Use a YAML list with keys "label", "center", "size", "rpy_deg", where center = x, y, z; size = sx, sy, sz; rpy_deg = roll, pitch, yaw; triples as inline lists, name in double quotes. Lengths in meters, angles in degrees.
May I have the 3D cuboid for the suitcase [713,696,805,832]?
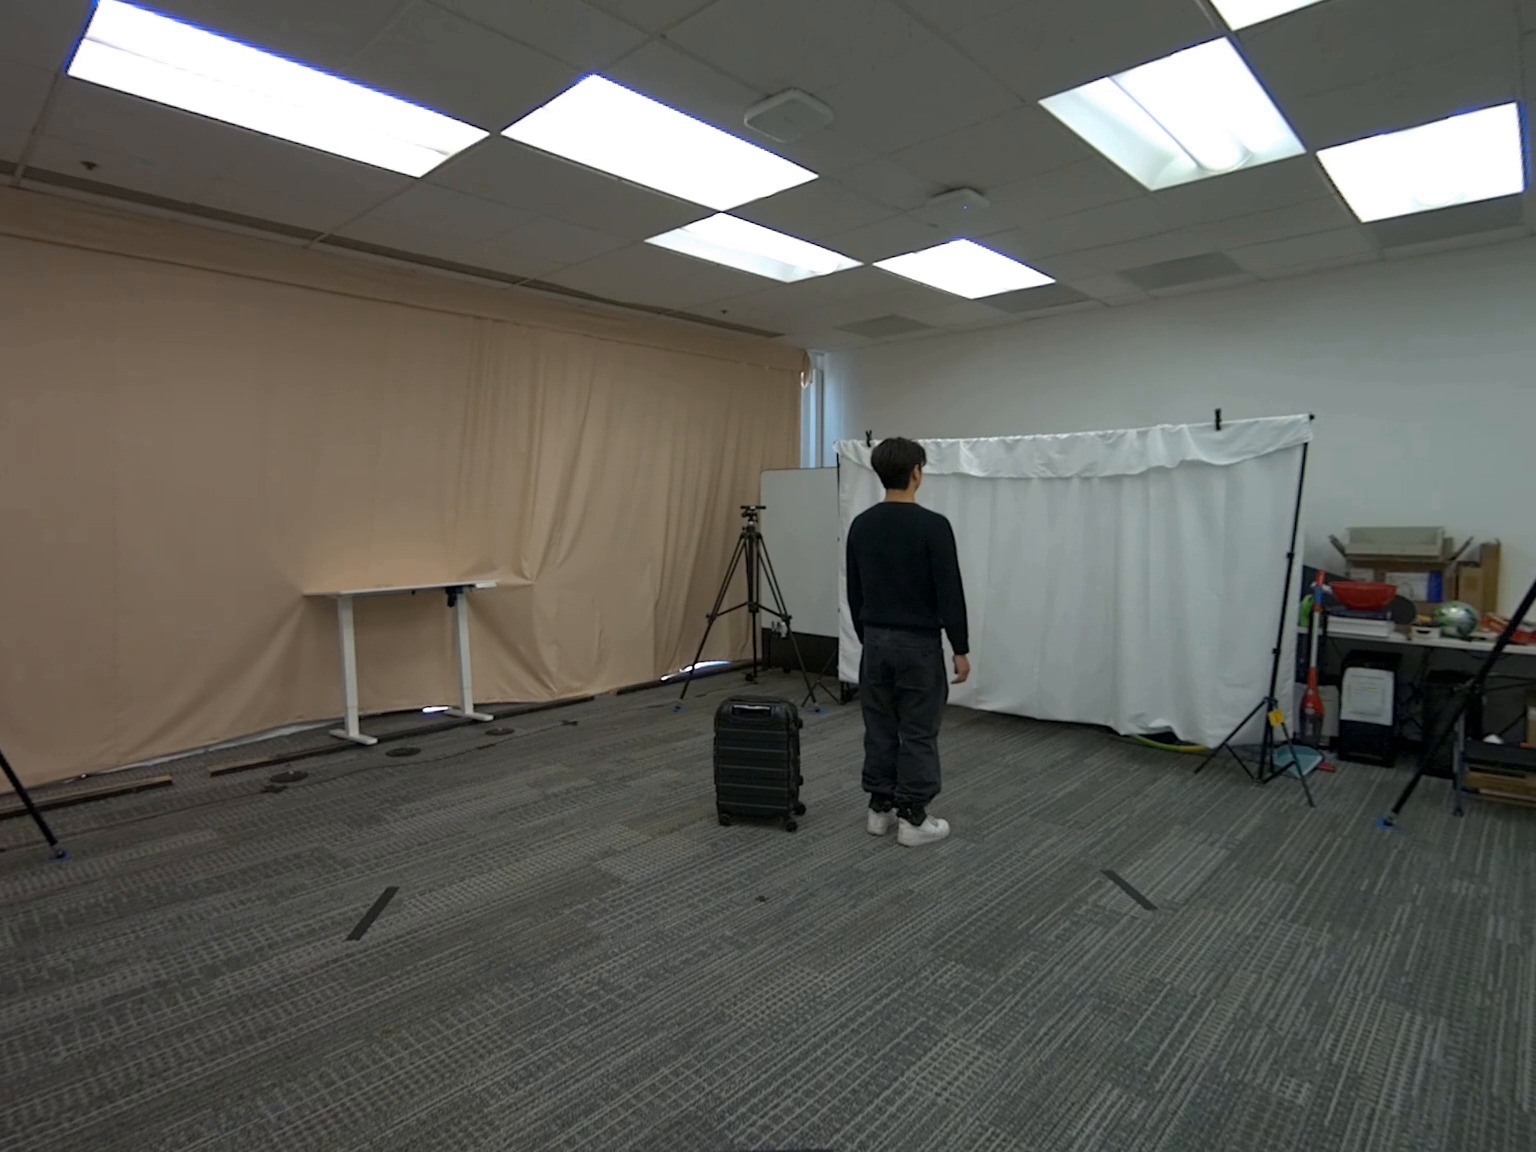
- label: "suitcase"
  center: [-0.043, 0.812, 3.744]
  size: [0.381, 0.548, 0.245]
  rpy_deg: [-1, 3, 15]
